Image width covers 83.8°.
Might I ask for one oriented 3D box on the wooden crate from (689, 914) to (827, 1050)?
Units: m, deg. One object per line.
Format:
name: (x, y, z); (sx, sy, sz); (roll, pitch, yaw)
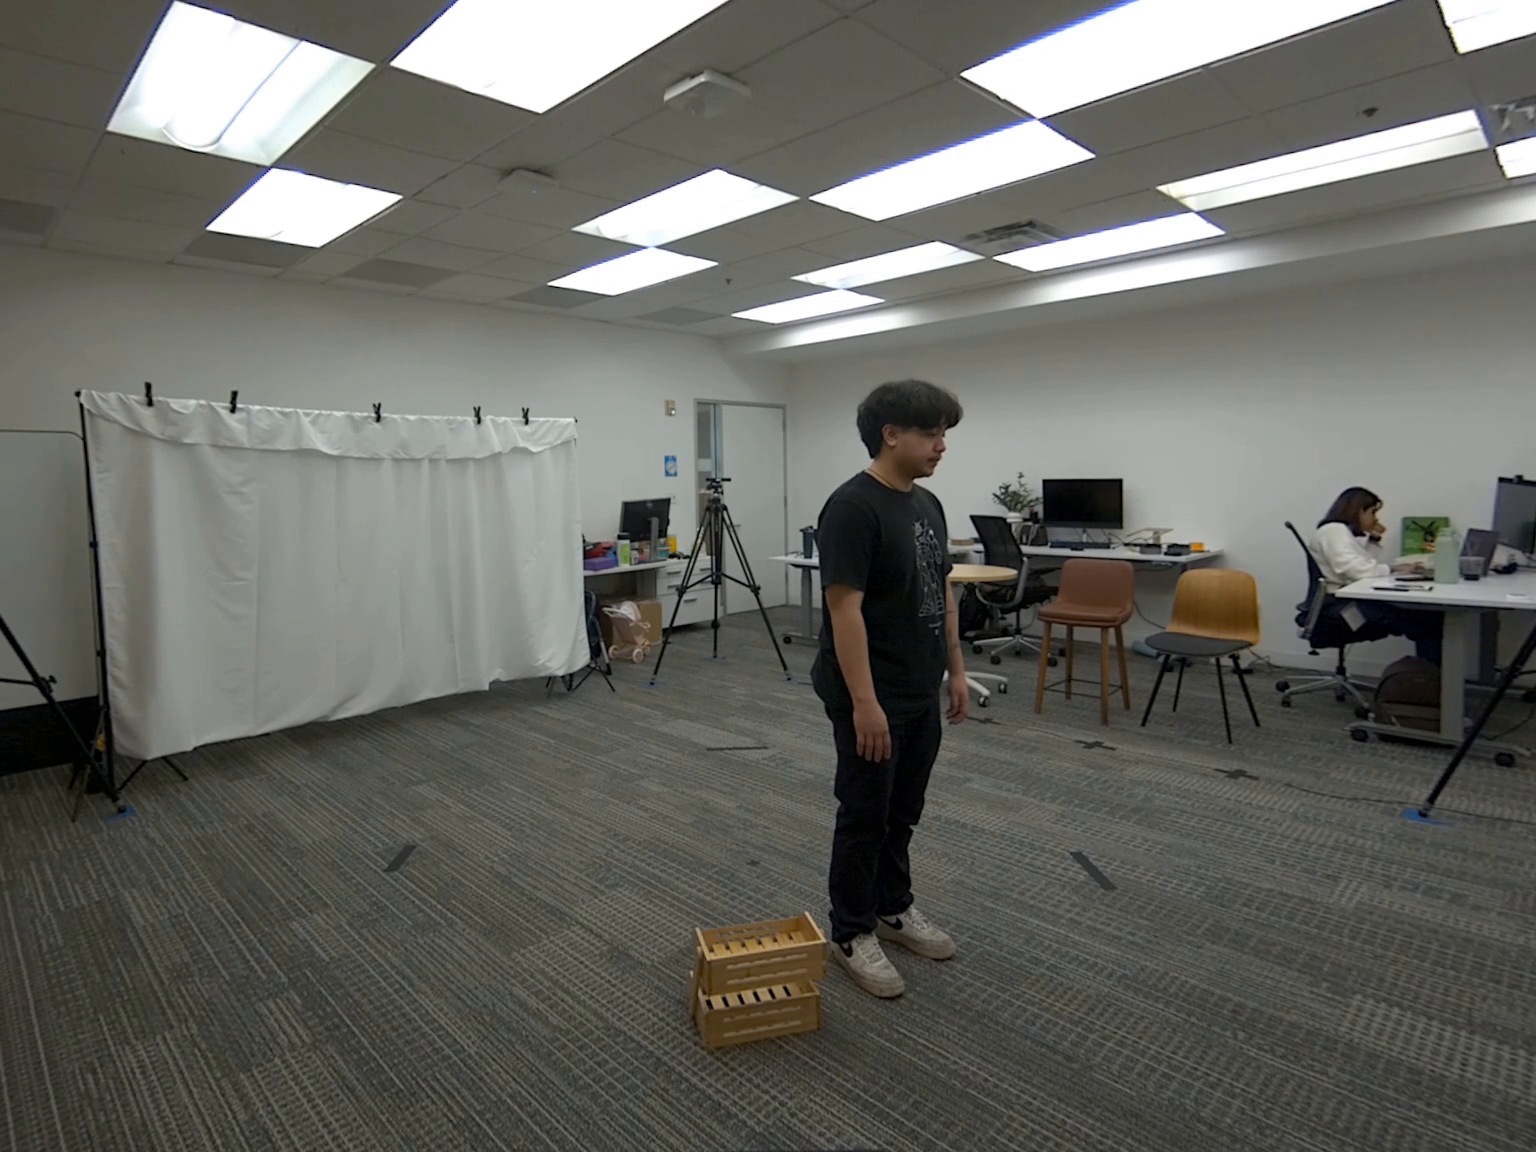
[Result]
wooden crate: (-0.033, 1.011, 2.220); (0.320, 0.272, 0.308); (-3, 7, -15)
